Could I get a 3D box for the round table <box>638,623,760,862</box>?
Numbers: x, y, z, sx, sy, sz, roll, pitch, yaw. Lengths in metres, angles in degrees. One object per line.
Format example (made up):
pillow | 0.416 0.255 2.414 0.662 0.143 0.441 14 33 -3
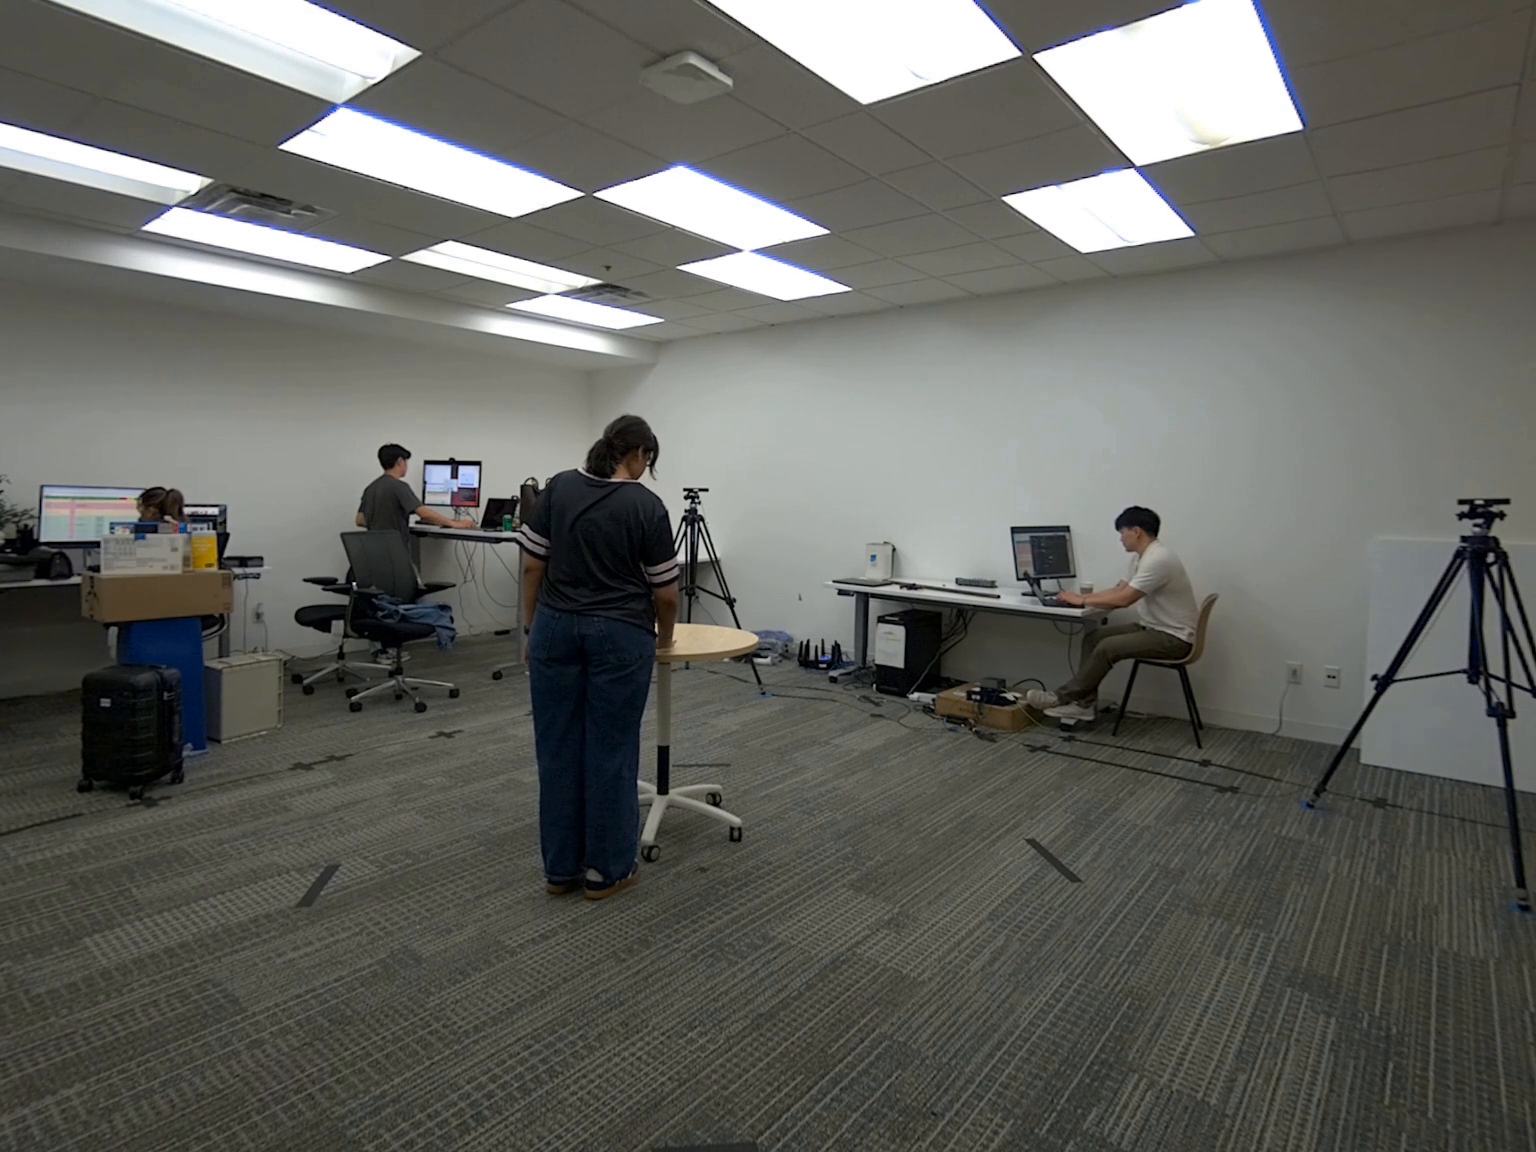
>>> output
round table | -0.448 0.636 3.483 0.784 0.784 0.789 1 4 -2
